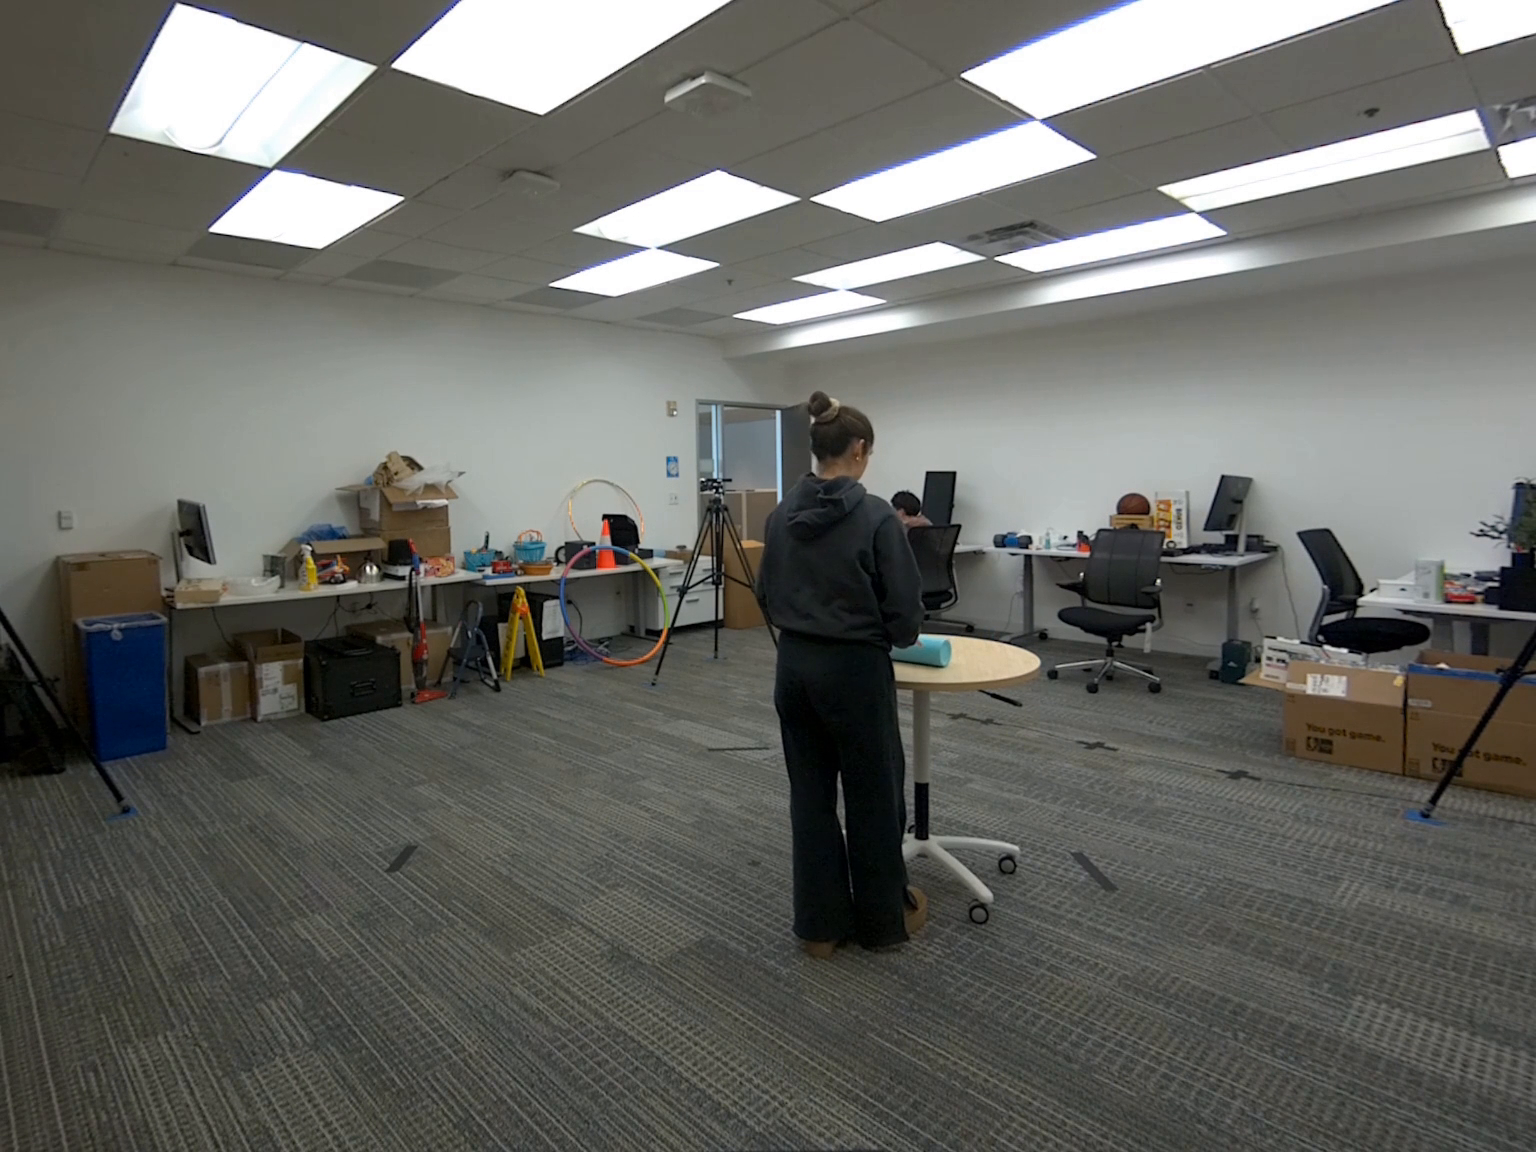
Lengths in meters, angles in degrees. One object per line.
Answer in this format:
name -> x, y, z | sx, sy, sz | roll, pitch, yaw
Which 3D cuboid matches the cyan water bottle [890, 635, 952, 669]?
cyan water bottle -> 0.462, 0.239, 2.822 | 0.292, 0.092, 0.090 | 4, 6, 38
